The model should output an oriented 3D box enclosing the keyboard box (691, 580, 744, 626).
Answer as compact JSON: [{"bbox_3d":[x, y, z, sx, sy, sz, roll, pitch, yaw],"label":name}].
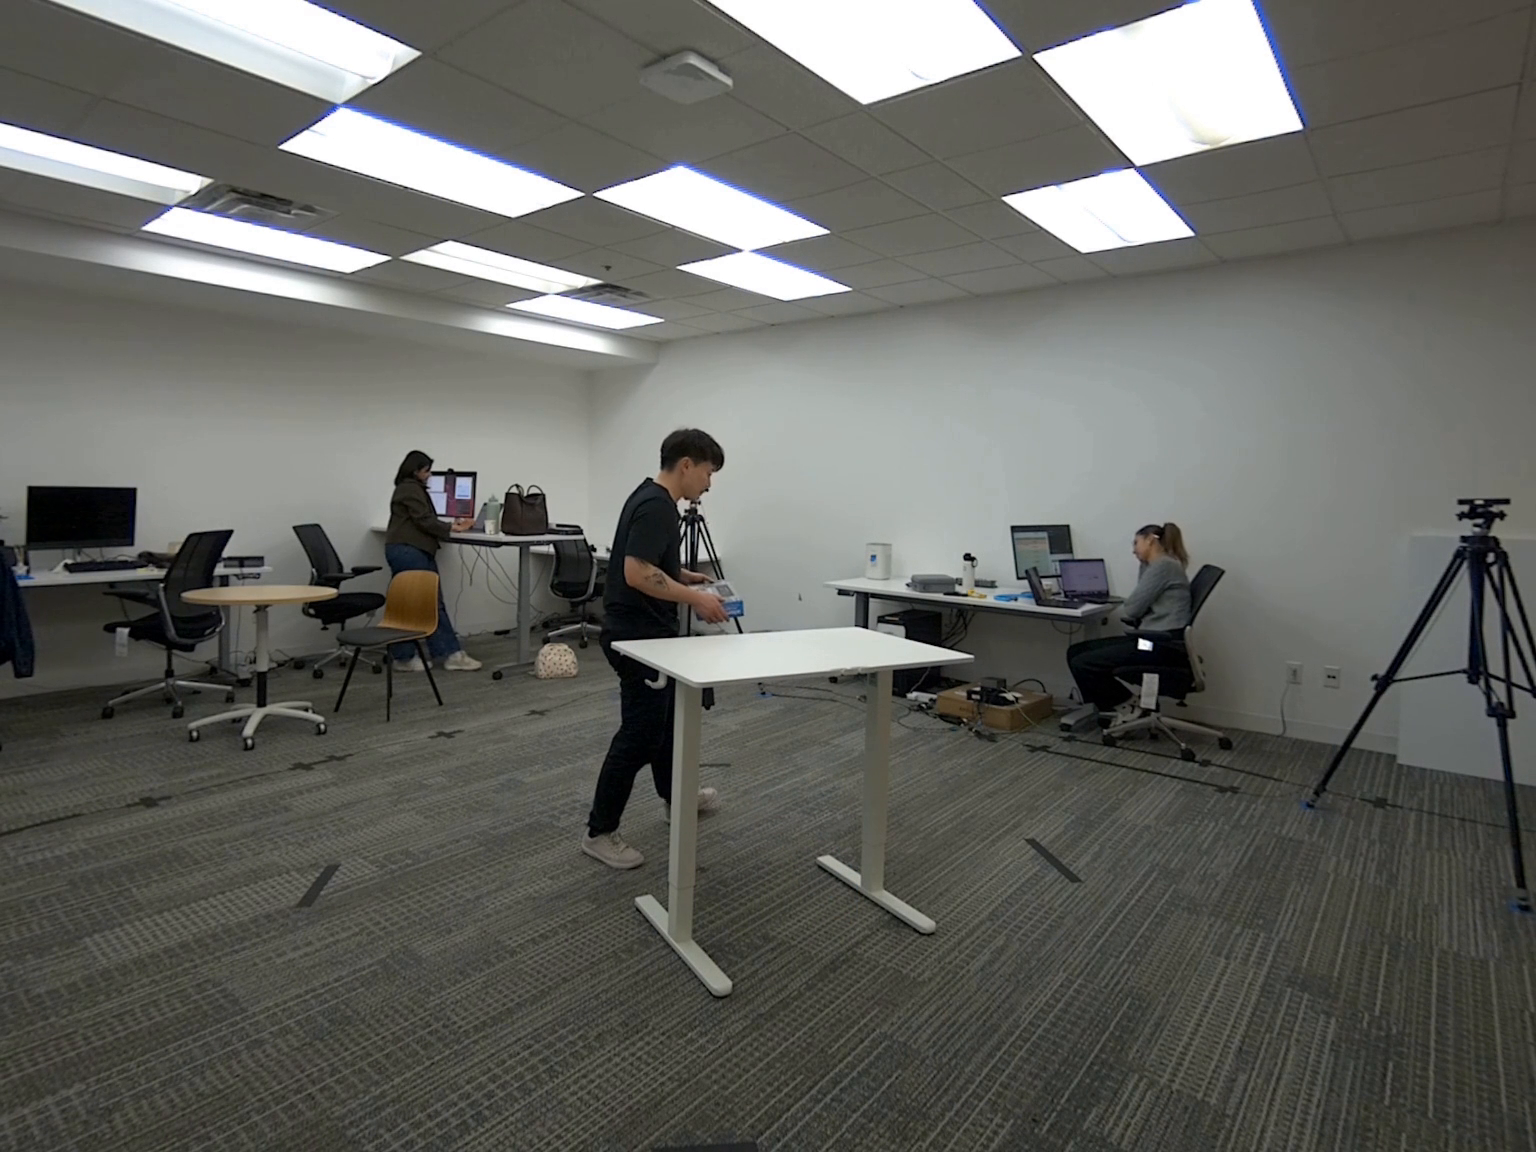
[{"bbox_3d":[-0.214,0.080,3.310,0.174,0.058,0.445,-6,10,-10],"label":"keyboard box"}]
